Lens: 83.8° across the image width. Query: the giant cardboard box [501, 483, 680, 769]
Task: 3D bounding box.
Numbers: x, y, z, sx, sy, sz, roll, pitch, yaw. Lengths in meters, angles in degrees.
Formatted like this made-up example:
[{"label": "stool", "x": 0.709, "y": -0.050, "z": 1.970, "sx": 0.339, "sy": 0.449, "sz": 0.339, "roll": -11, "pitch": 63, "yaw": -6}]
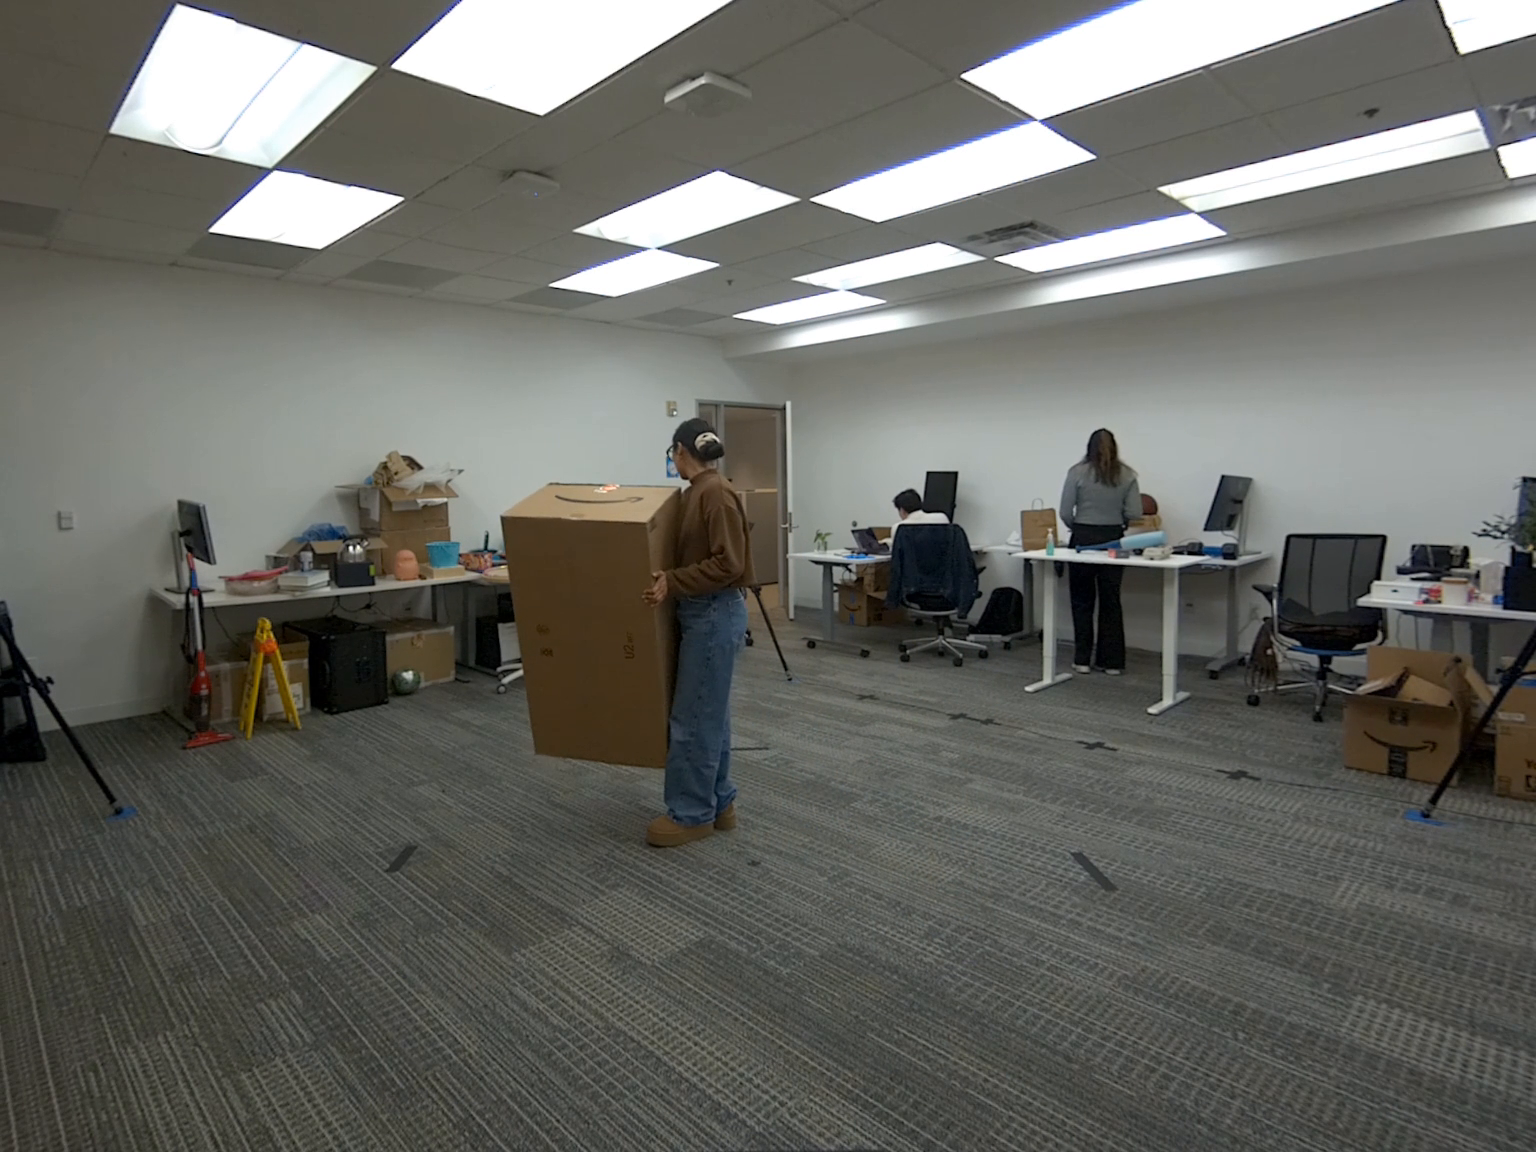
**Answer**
[{"label": "giant cardboard box", "x": -0.640, "y": 0.191, "z": 3.406, "sx": 0.585, "sy": 1.007, "sz": 0.429, "roll": 2, "pitch": 21, "yaw": 12}]
